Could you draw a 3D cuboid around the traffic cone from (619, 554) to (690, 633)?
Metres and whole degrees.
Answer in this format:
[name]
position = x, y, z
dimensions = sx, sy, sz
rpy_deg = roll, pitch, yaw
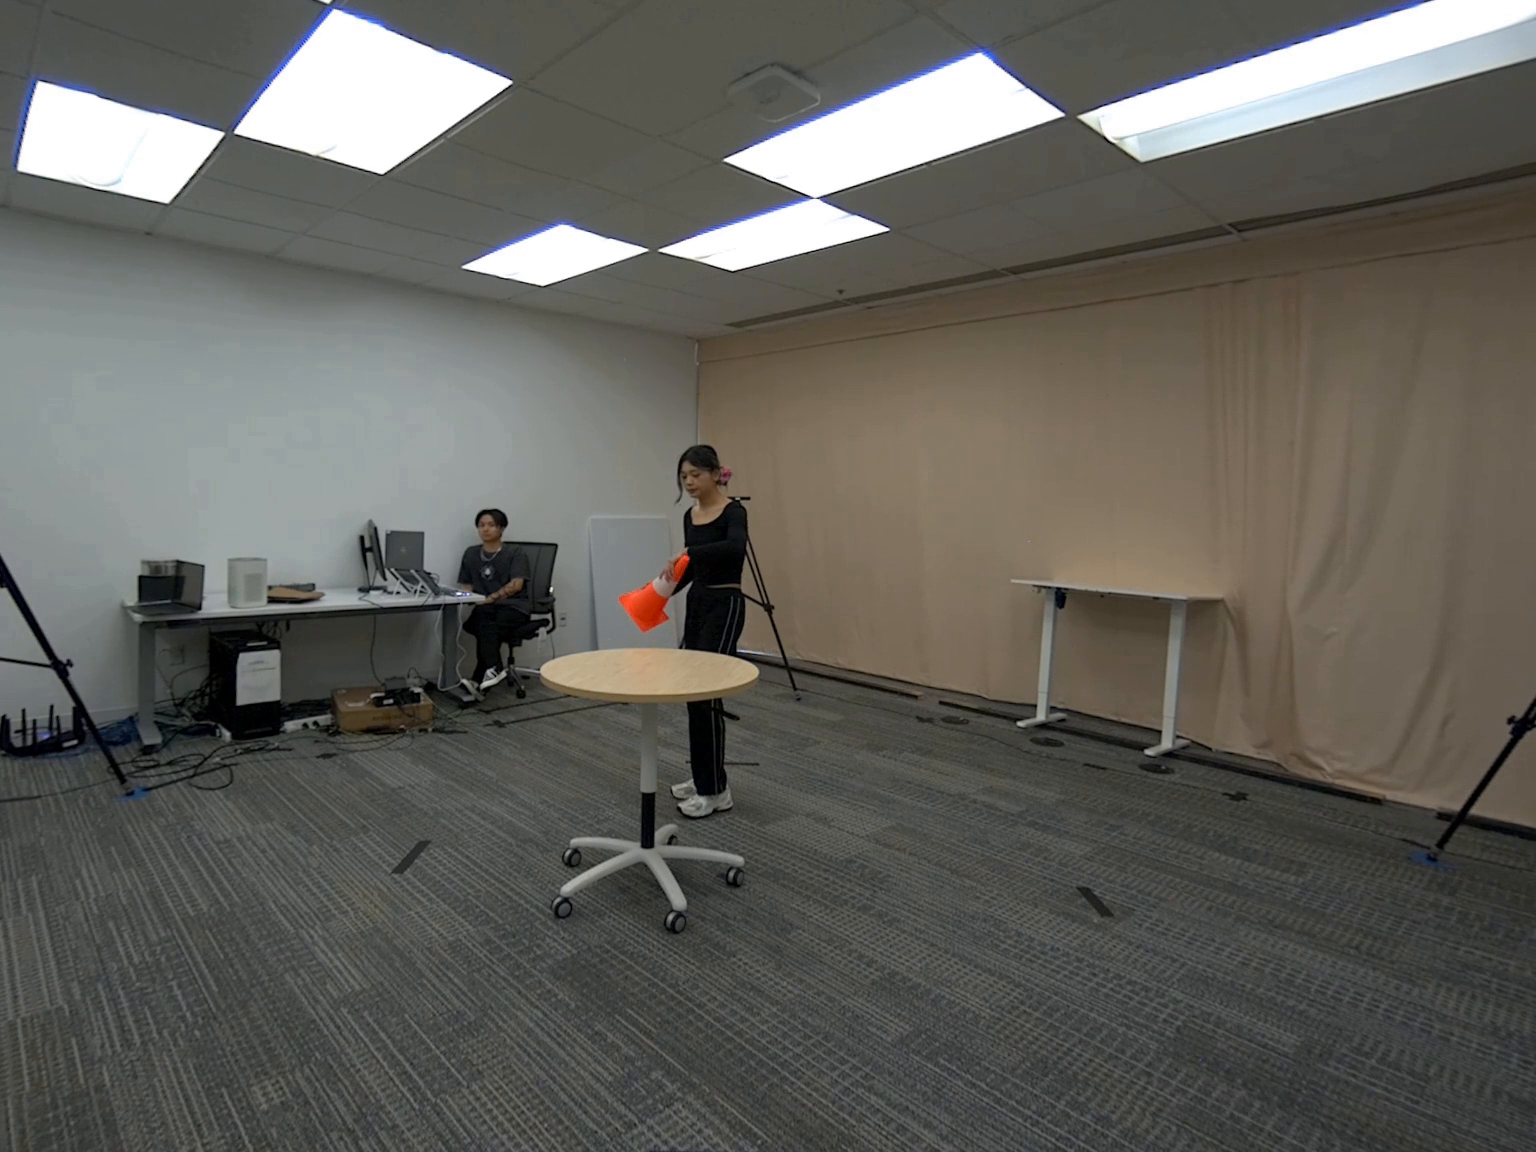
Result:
[traffic cone]
position = -0.460, 0.037, 3.705
dimensions = 0.383, 0.208, 0.200
rpy_deg = -47, -15, 33
